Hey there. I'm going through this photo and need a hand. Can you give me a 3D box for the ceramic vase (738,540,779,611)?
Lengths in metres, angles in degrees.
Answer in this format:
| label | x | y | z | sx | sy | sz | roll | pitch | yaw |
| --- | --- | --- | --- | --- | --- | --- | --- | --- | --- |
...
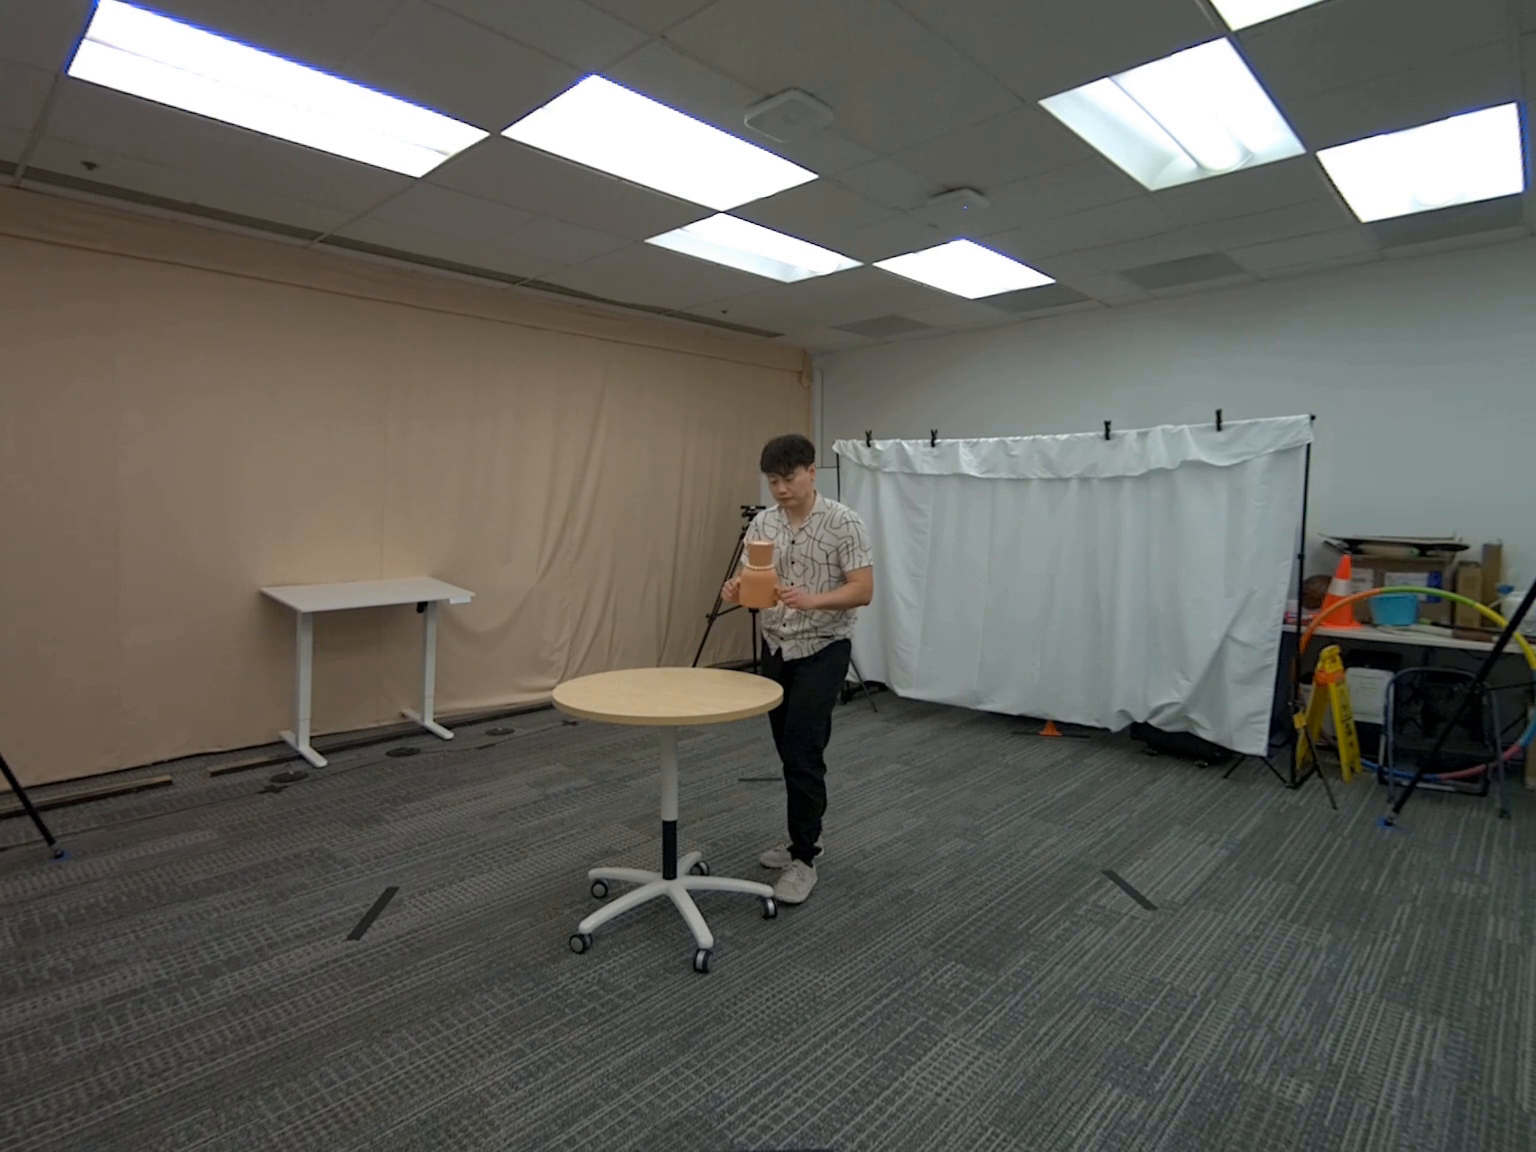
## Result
| label | x | y | z | sx | sy | sz | roll | pitch | yaw |
| --- | --- | --- | --- | --- | --- | --- | --- | --- | --- |
| ceramic vase | -0.018 | -0.010 | 2.934 | 0.158 | 0.218 | 0.135 | 2 | 10 | -2 |
